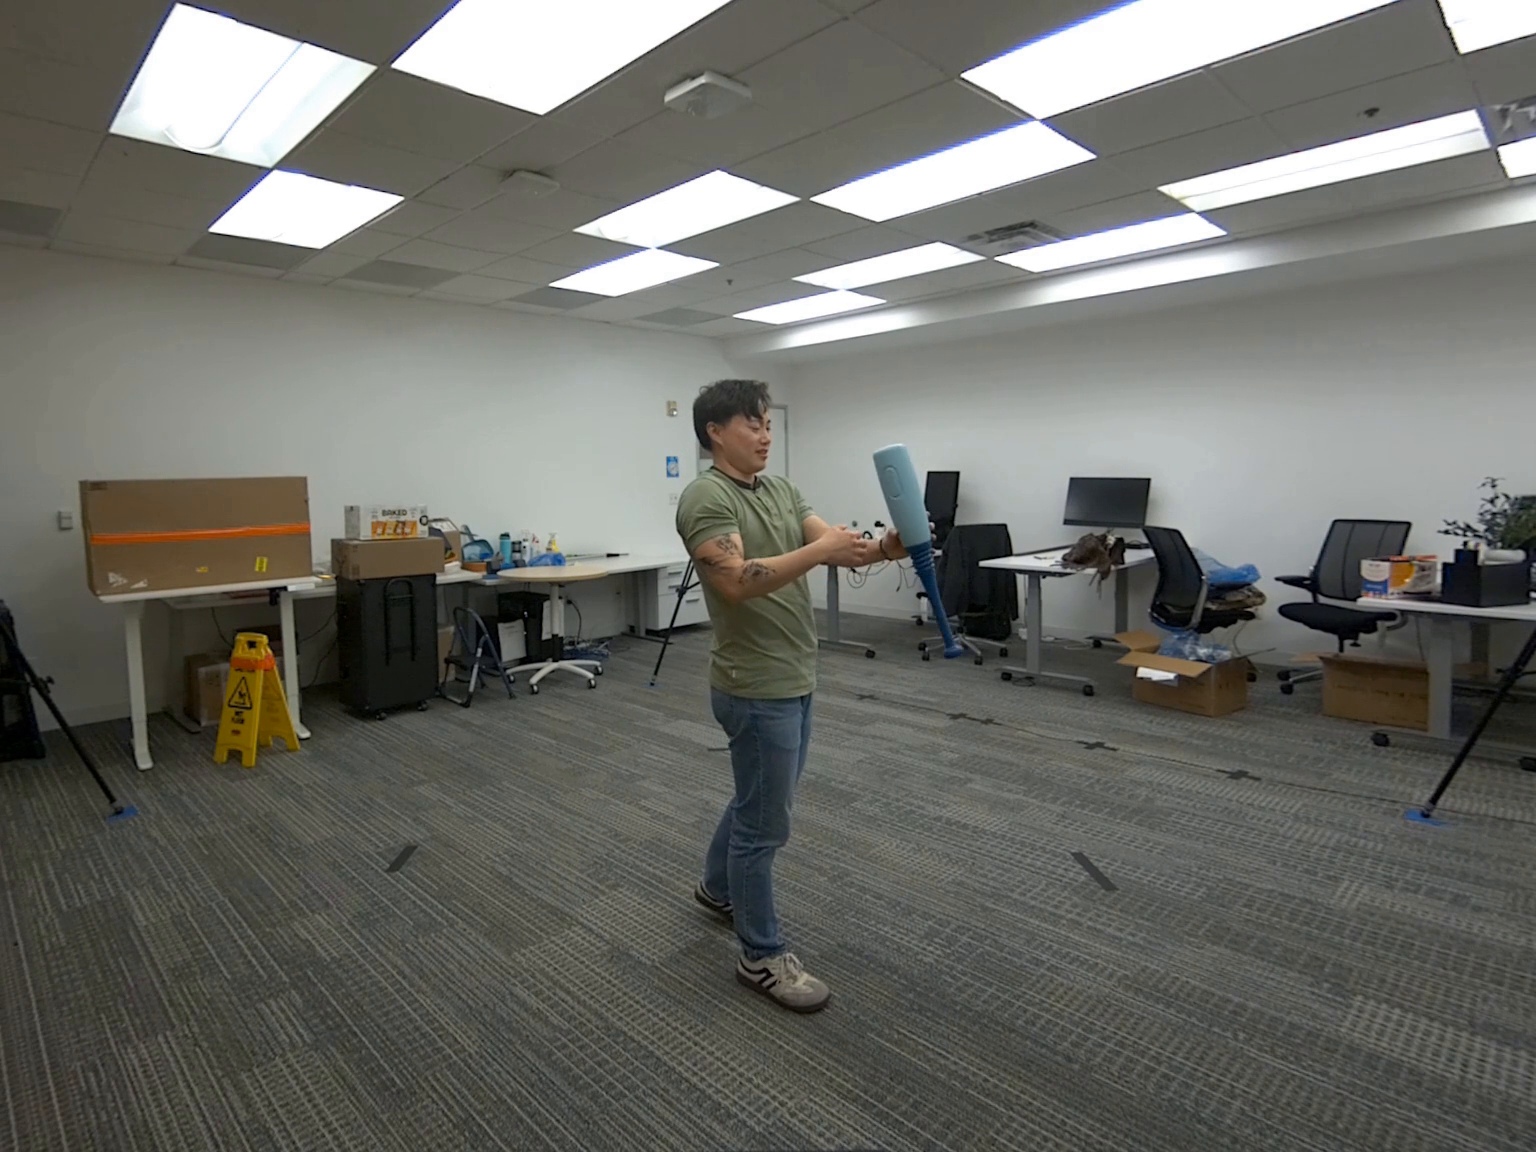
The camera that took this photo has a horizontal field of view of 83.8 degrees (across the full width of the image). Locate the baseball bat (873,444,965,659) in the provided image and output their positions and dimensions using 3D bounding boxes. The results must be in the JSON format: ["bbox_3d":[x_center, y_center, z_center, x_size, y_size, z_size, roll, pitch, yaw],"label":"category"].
[{"bbox_3d":[0.368,-0.055,2.109,0.089,0.543,0.089,-16,-1,-1],"label":"baseball bat"}]
